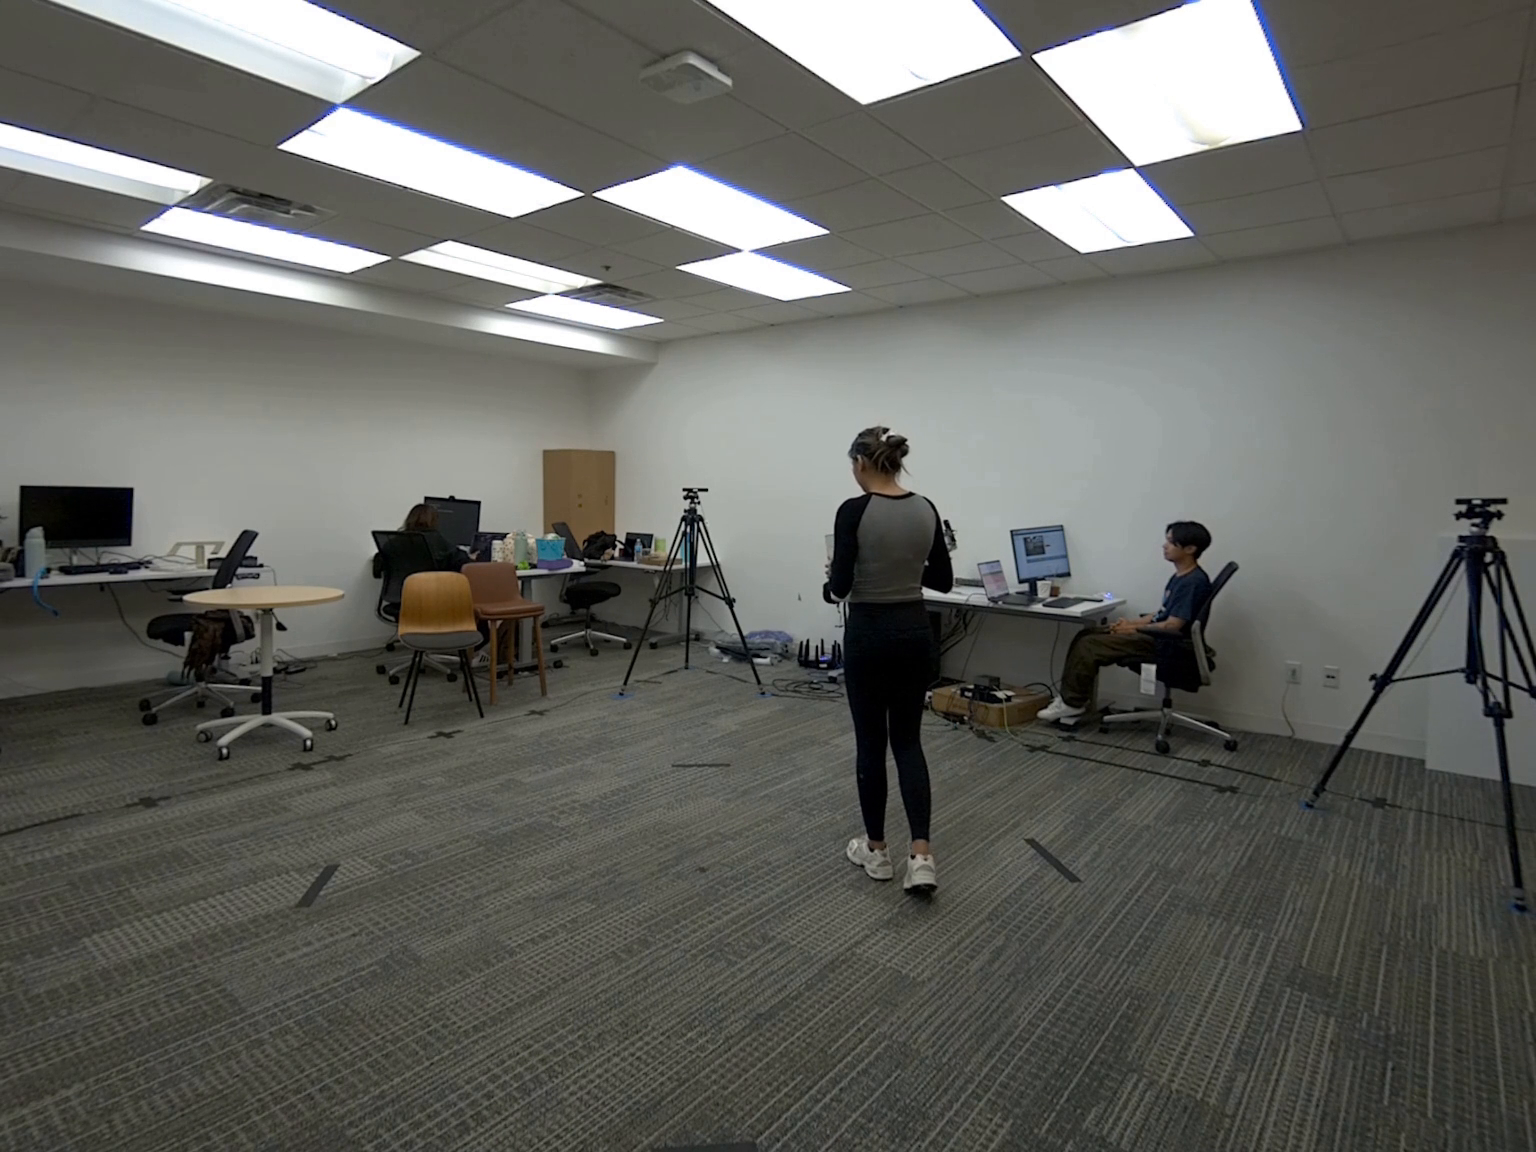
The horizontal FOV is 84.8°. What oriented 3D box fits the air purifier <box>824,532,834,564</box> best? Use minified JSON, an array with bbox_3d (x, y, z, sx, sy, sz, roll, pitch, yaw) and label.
[{"bbox_3d":[0.337,-0.041,3.284,0.169,0.266,0.174,-7,-1,-19],"label":"air purifier"}]
